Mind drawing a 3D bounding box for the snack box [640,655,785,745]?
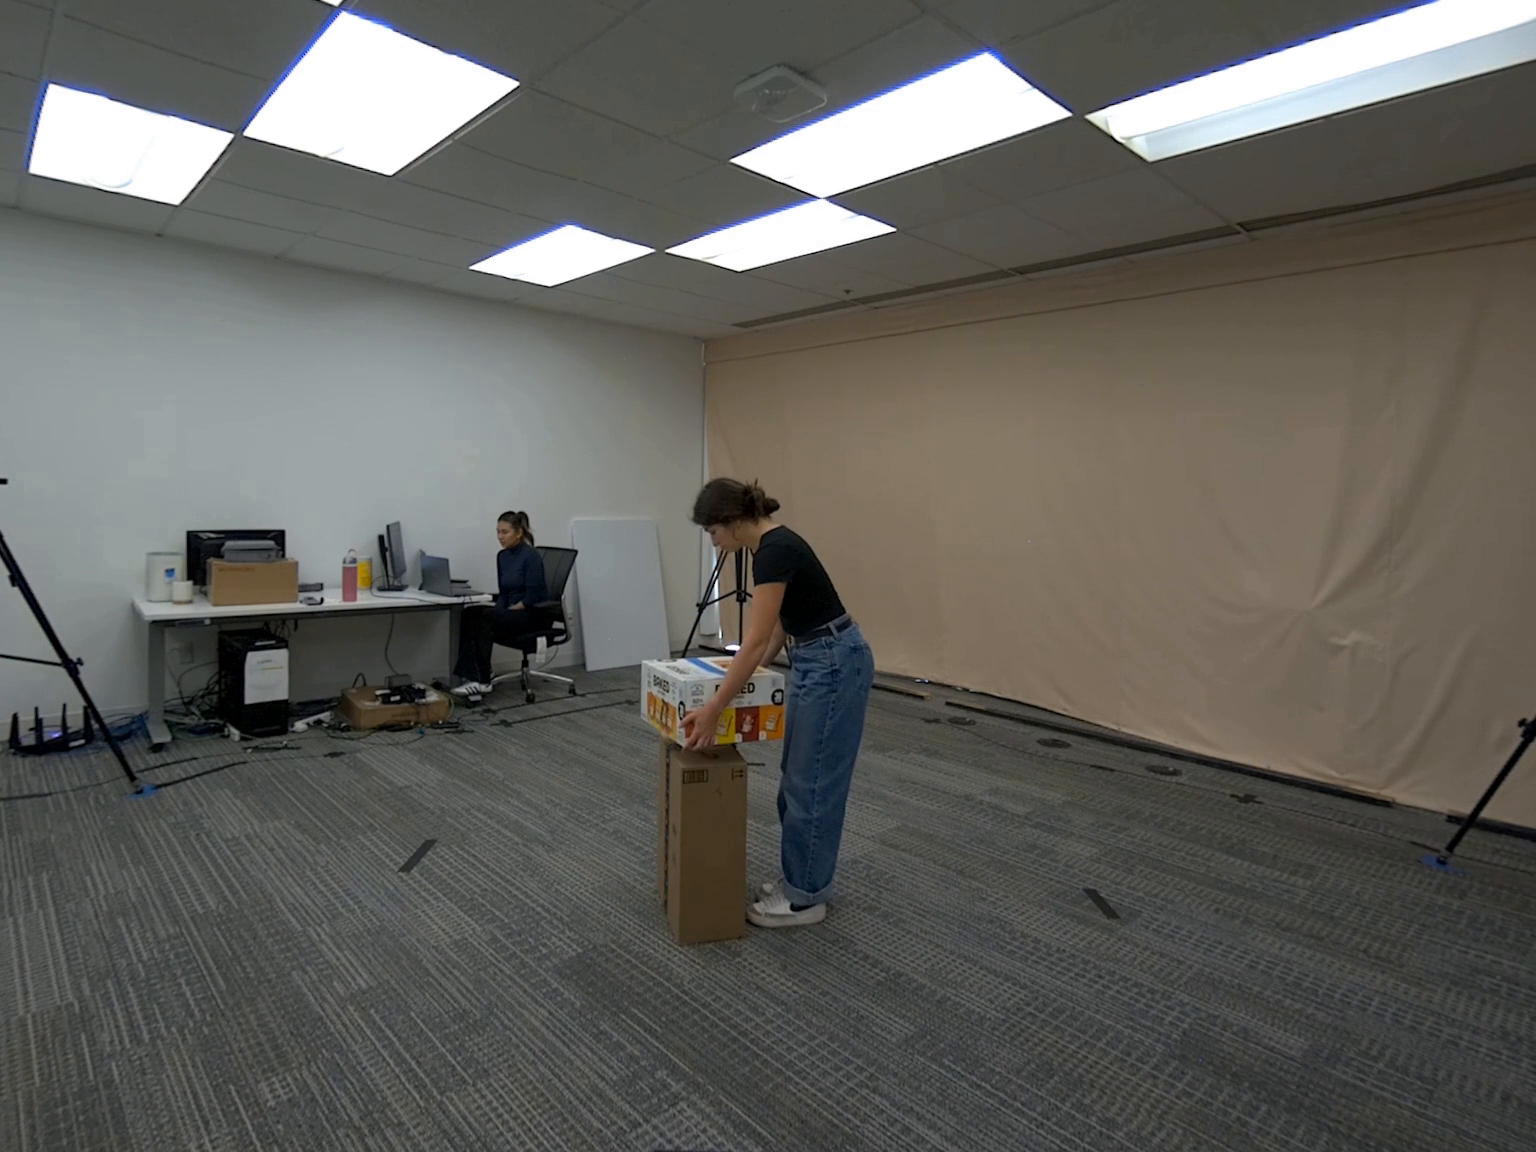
[{"bbox_3d":[-0.194,0.400,2.769,0.334,0.205,0.413,1,3,-26],"label":"snack box"}]
